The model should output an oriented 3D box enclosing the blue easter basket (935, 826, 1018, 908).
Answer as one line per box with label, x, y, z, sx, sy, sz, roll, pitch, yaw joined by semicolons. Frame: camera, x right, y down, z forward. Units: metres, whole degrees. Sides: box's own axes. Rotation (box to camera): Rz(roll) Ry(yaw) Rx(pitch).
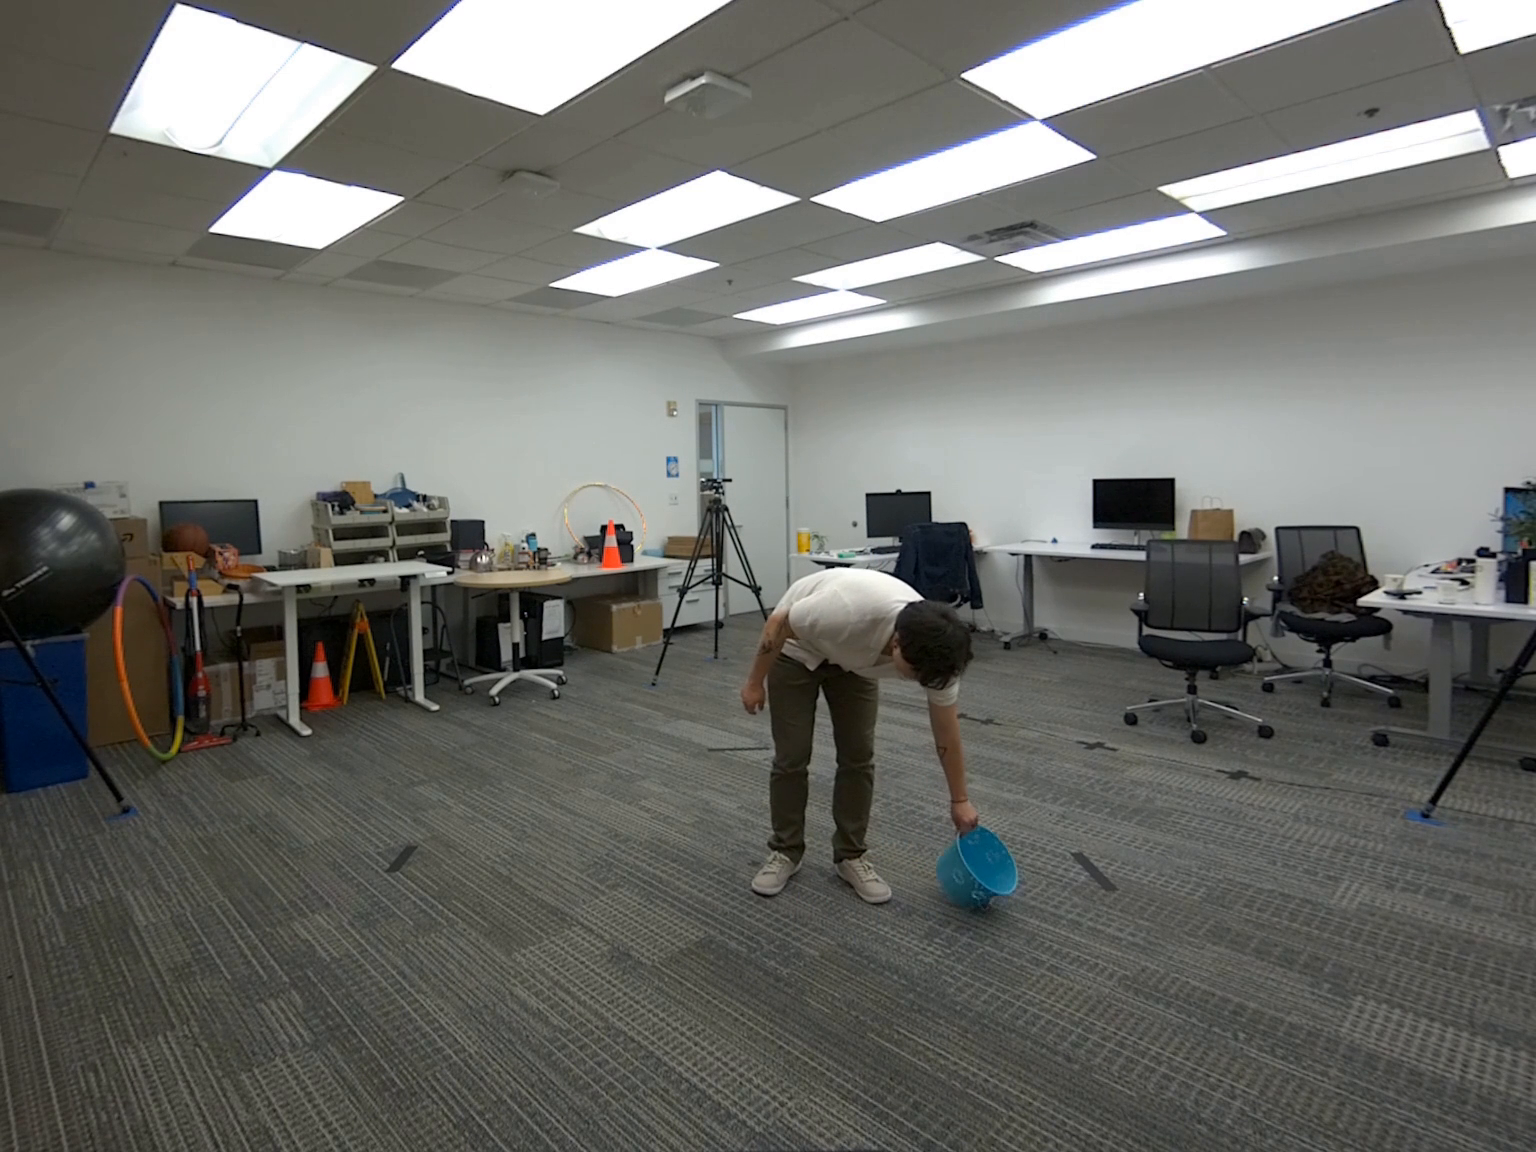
blue easter basket;0.669;0.950;2.759;0.238;0.155;0.250;21;37;-19
